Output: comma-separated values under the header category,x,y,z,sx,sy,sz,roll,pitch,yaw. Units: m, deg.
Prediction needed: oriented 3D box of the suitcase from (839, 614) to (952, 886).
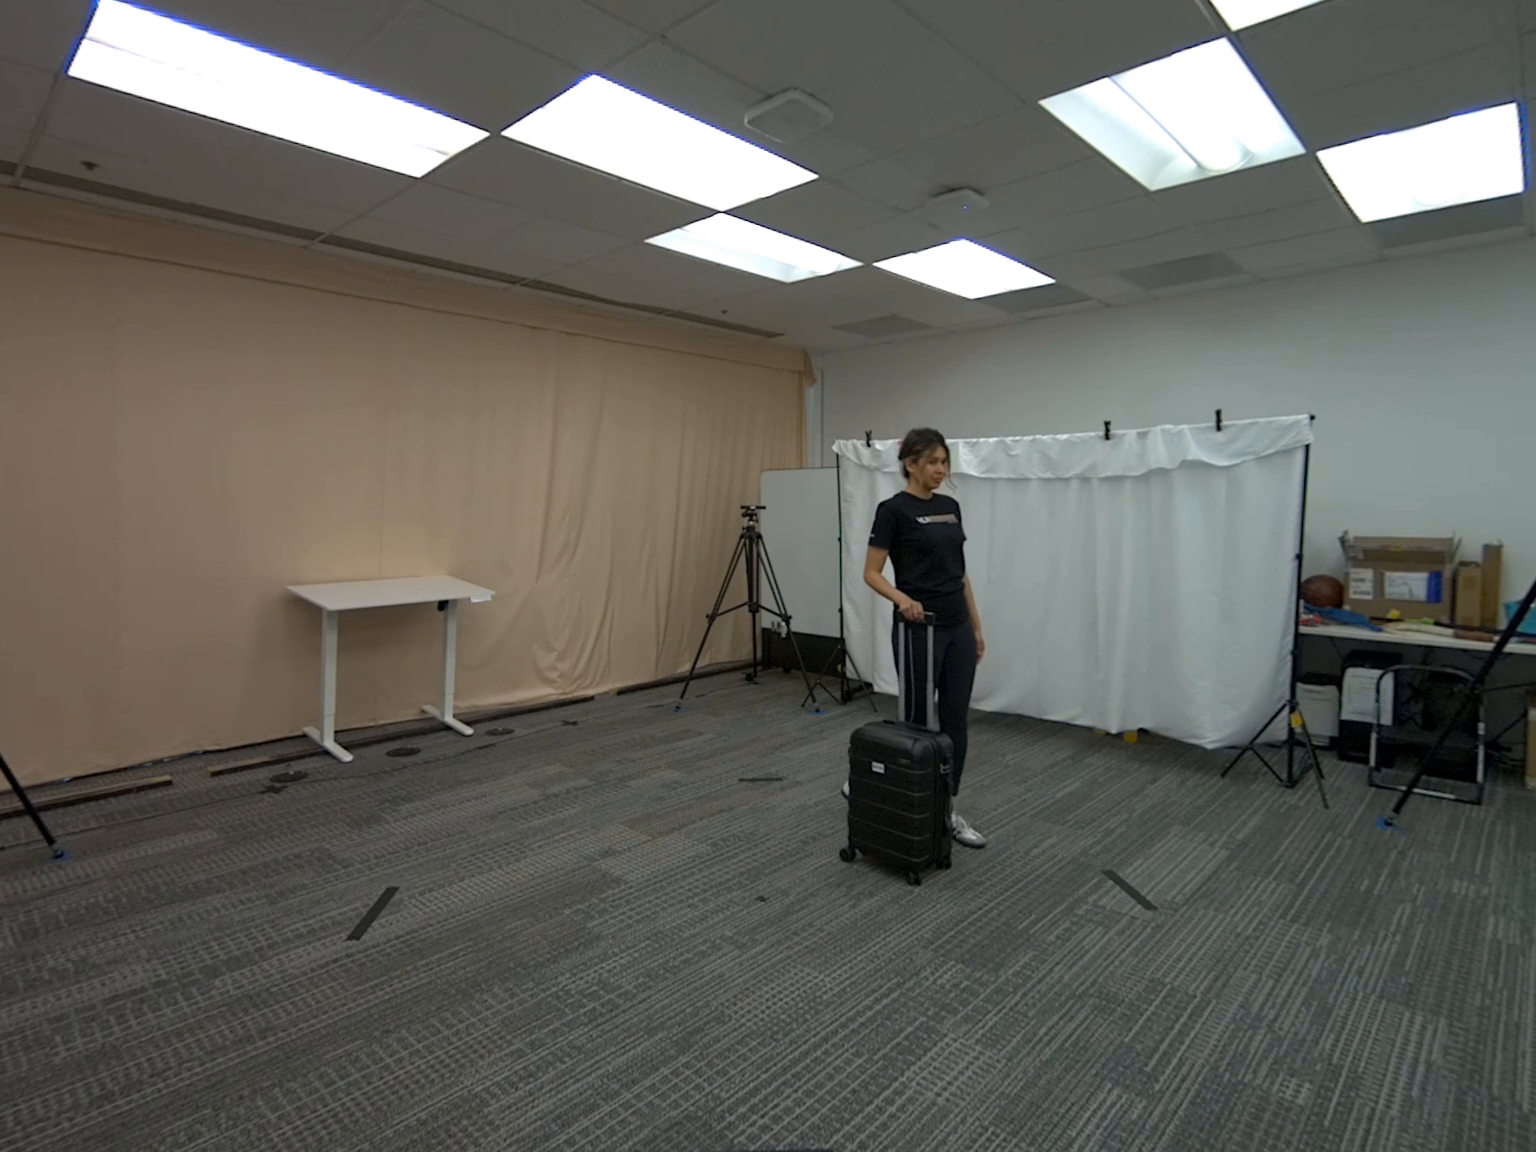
category,x,y,z,sx,sy,sz,roll,pitch,yaw
suitcase,0.505,0.645,3.216,0.249,0.975,0.397,-5,8,-43
